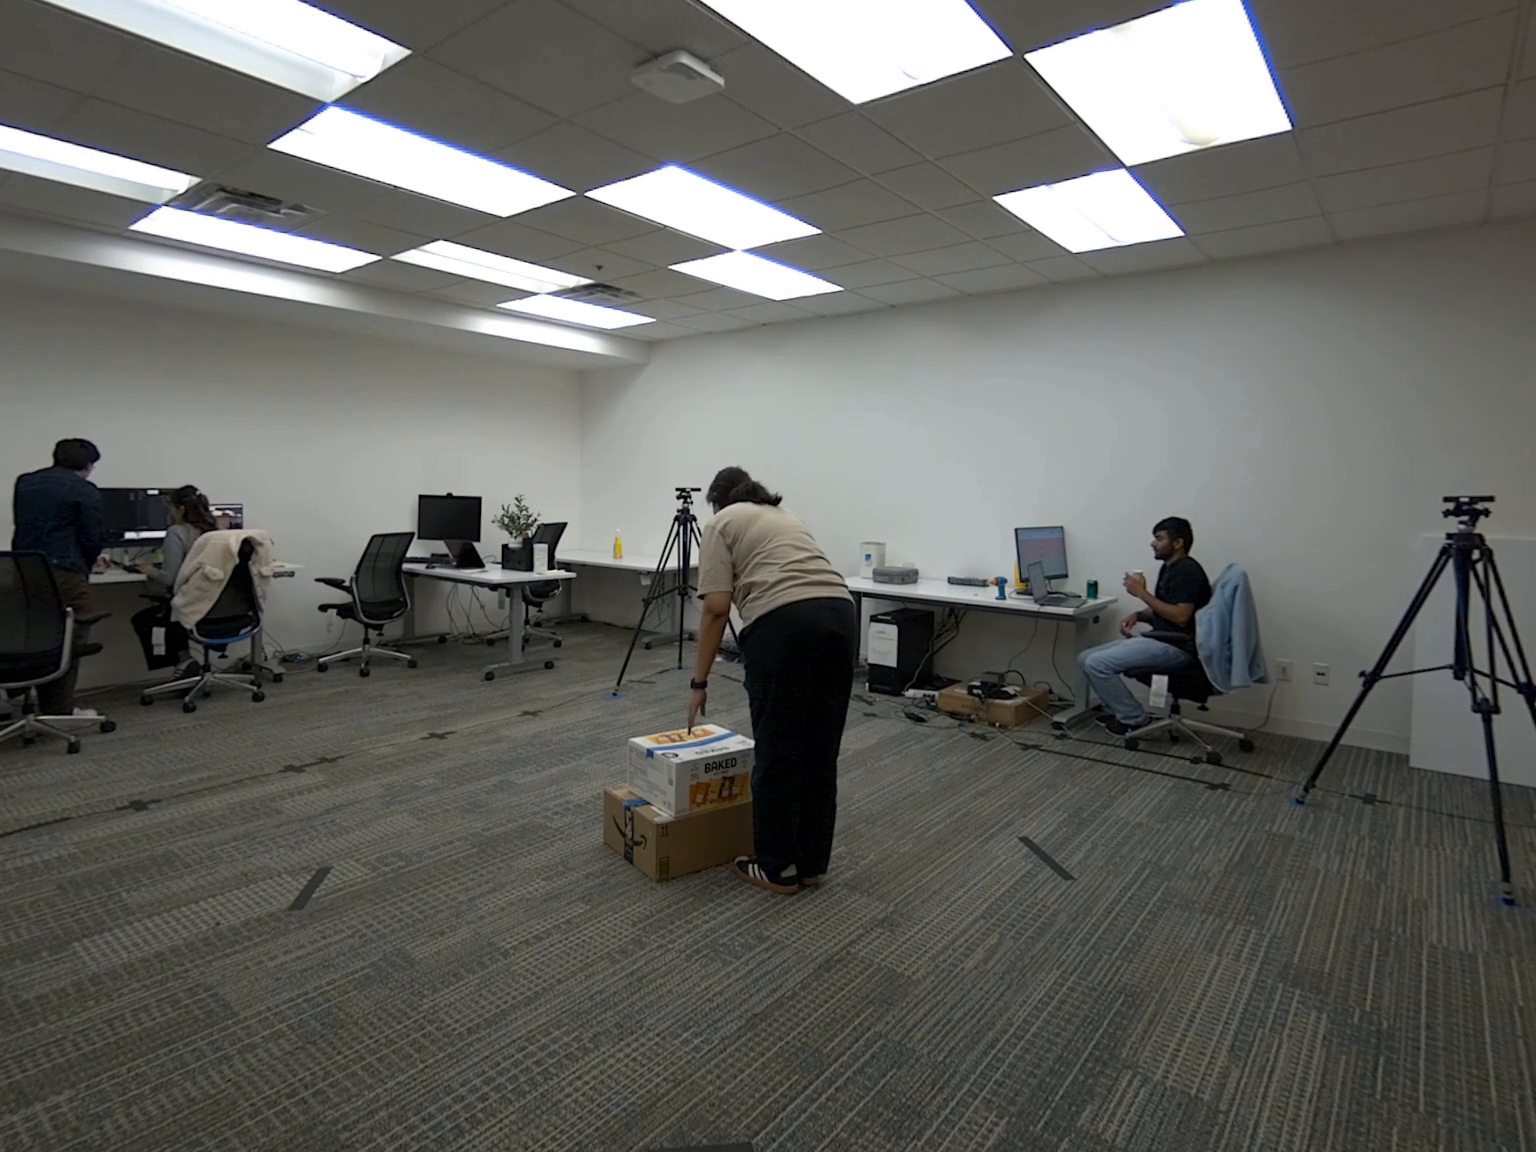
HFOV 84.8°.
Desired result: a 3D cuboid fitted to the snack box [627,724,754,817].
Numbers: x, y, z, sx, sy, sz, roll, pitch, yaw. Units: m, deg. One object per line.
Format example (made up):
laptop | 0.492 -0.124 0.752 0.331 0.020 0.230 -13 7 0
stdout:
snack box | -0.292 0.735 3.267 0.393 0.205 0.352 -3 6 -38
